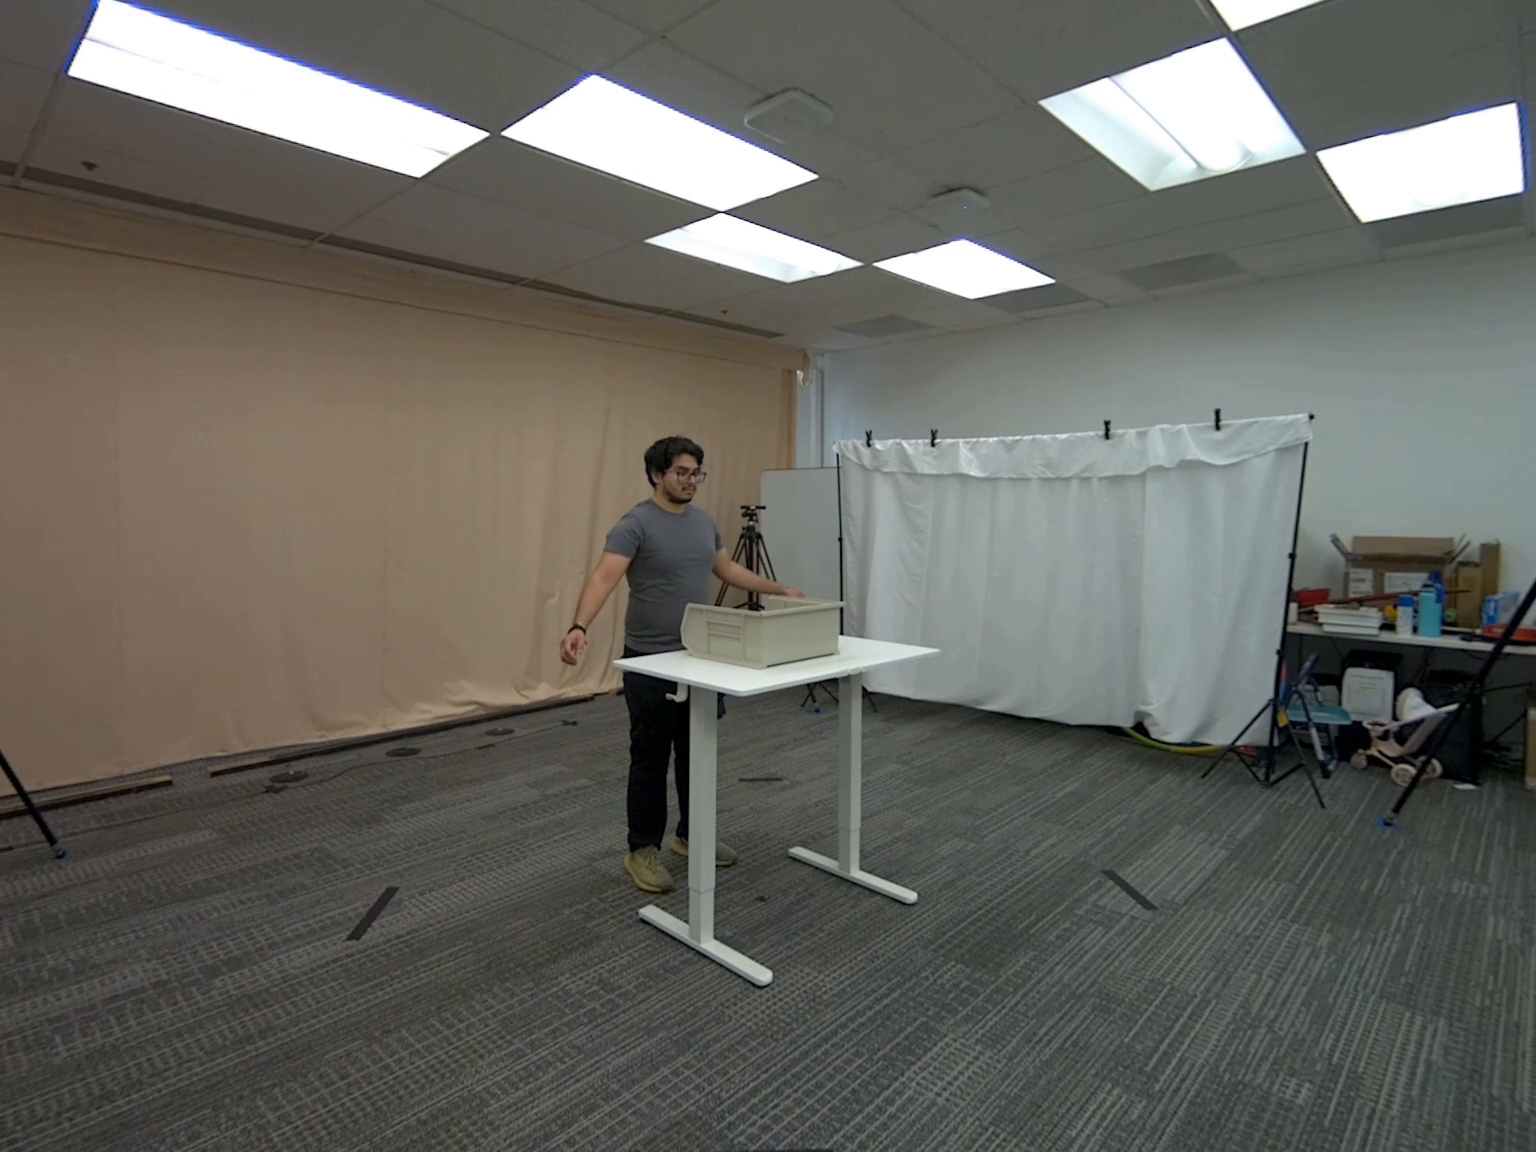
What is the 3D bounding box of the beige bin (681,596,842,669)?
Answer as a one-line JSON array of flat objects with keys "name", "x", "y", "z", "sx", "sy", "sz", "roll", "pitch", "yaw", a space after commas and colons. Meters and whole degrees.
[{"name": "beige bin", "x": -0.015, "y": 0.183, "z": 2.865, "sx": 0.390, "sy": 0.188, "sz": 0.409, "roll": 6, "pitch": 7, "yaw": 44}]
